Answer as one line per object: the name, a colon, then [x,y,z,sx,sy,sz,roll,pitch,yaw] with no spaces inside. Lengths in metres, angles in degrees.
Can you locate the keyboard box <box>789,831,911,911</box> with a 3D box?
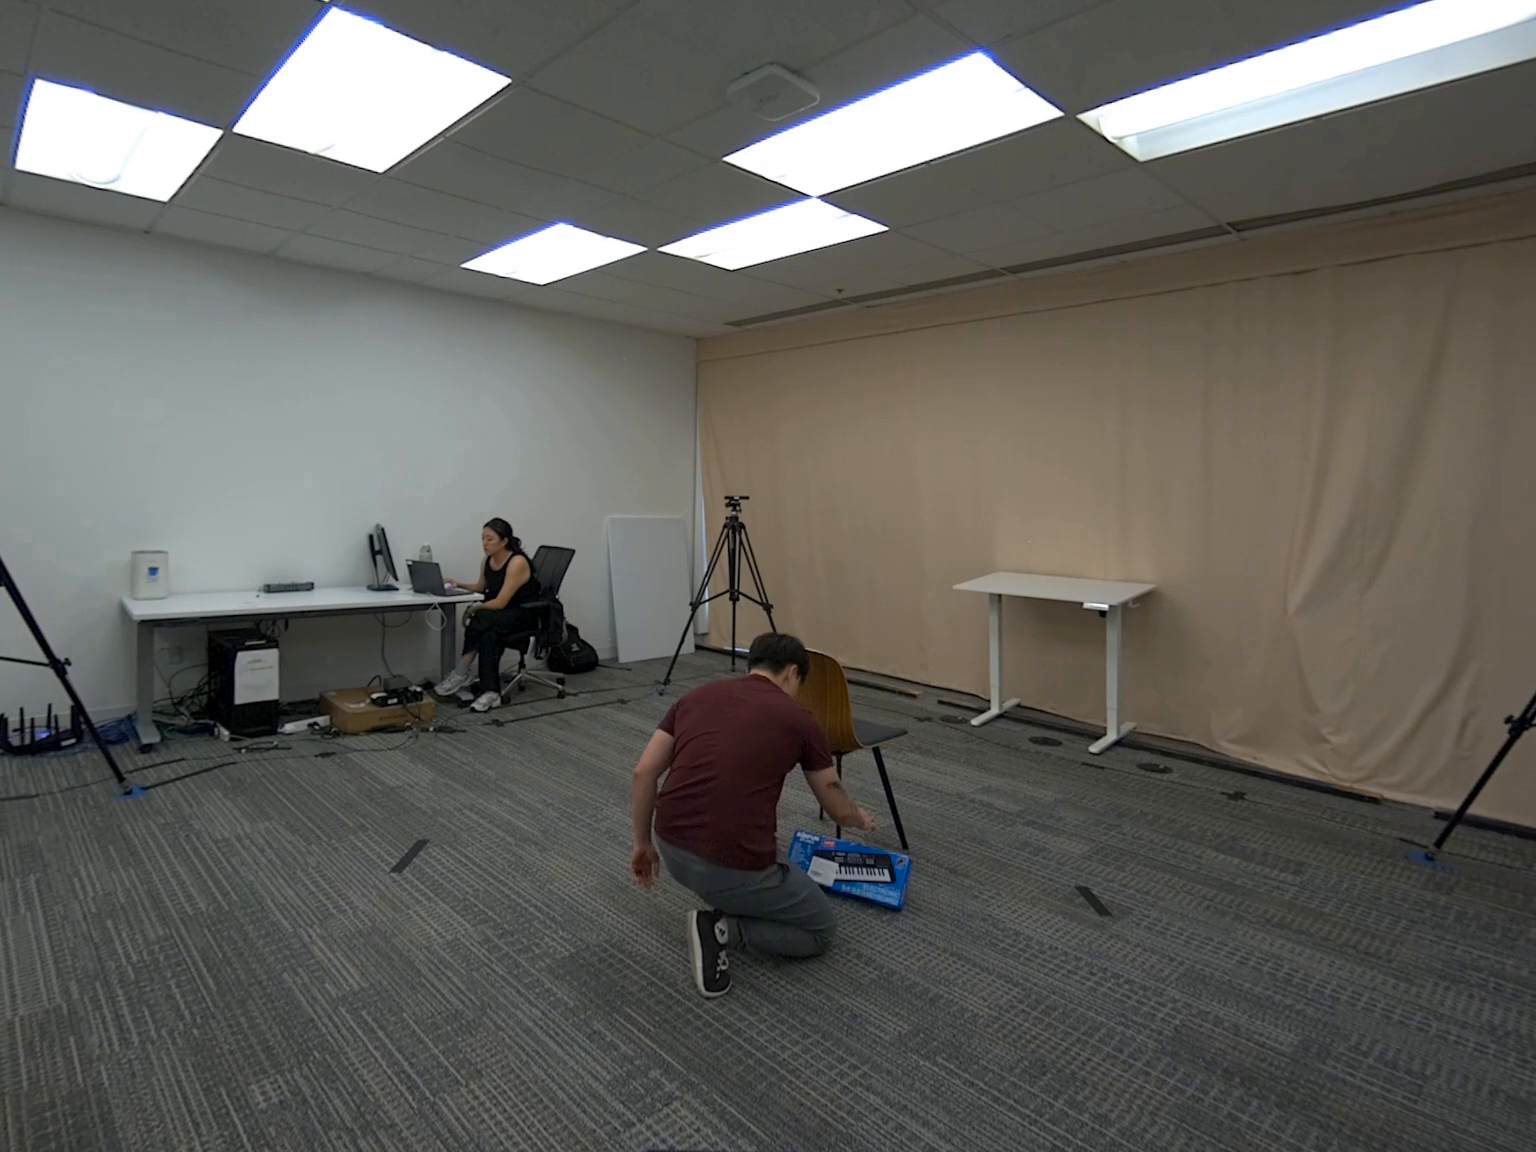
keyboard box: [0.272,1.043,2.987,0.446,0.178,0.057,4,-34,28]
